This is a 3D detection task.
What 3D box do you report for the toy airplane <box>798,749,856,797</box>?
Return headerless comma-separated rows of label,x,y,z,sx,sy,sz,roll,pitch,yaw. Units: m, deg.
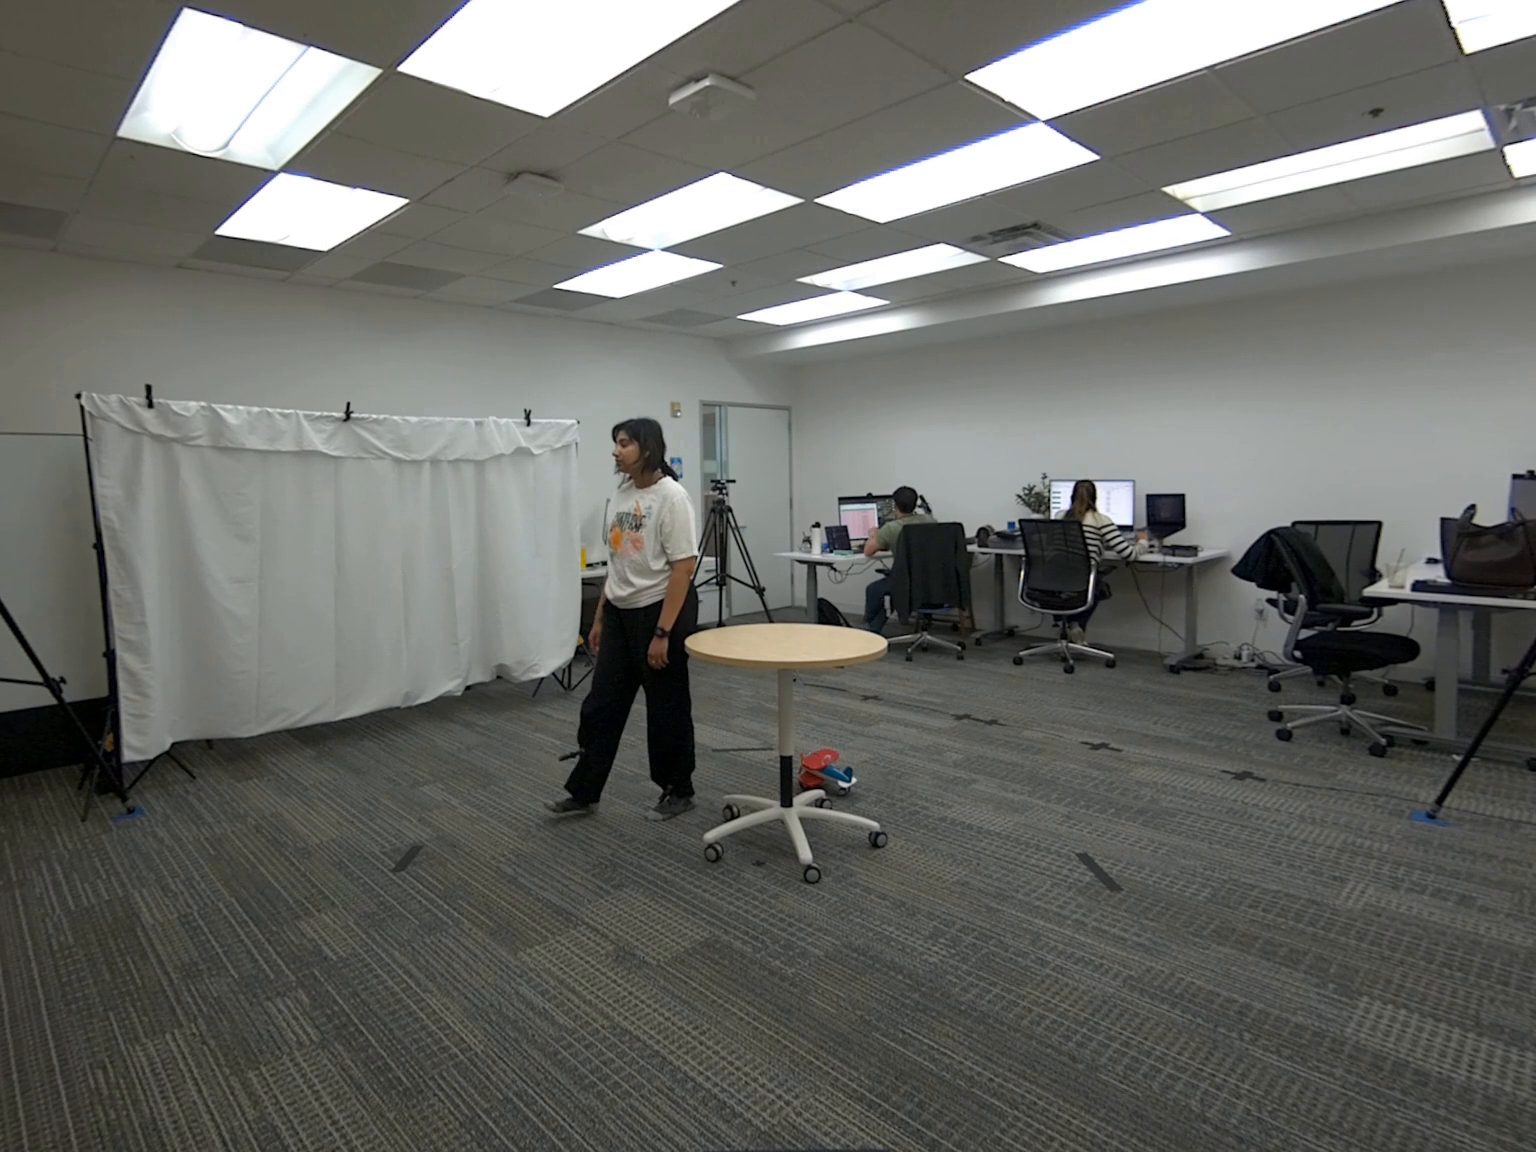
toy airplane,0.274,0.881,3.854,0.261,0.156,0.250,-1,5,5
